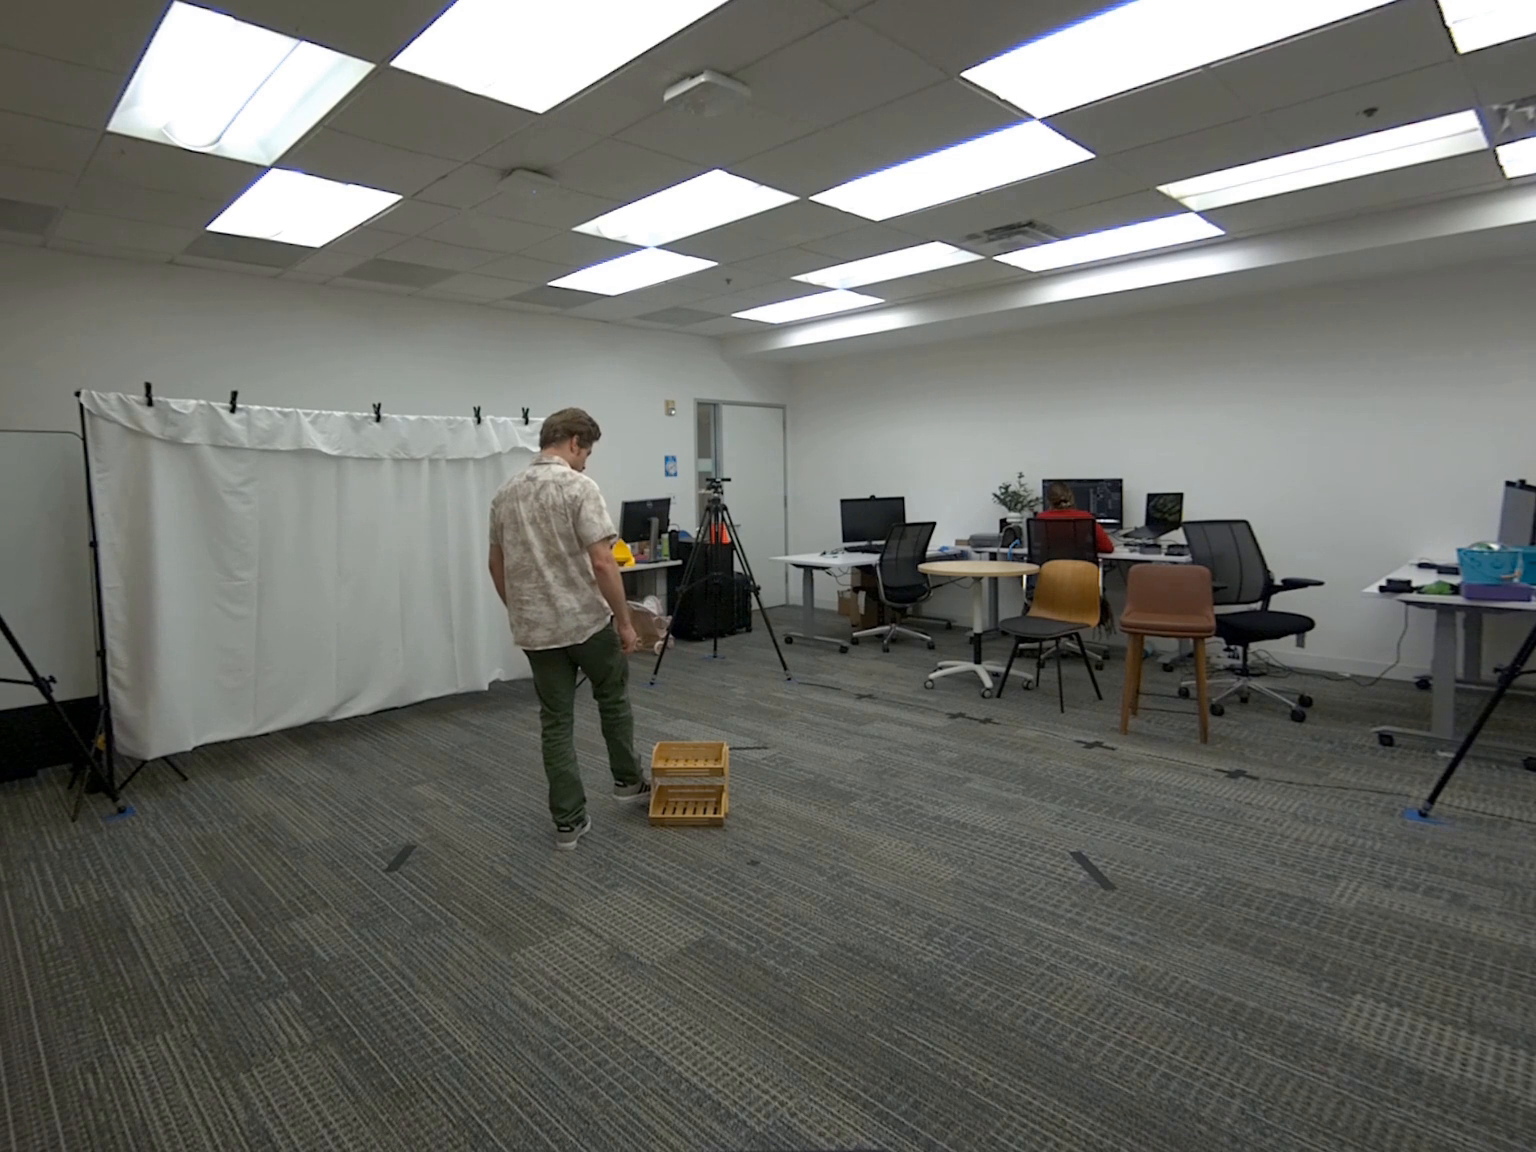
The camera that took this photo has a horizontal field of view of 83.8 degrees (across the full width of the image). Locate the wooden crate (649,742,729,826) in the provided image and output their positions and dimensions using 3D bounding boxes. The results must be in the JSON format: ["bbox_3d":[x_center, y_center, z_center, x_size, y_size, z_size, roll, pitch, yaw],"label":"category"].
[{"bbox_3d":[-0.327,0.859,3.561,0.325,0.272,0.302,-1,4,2],"label":"wooden crate"}]
